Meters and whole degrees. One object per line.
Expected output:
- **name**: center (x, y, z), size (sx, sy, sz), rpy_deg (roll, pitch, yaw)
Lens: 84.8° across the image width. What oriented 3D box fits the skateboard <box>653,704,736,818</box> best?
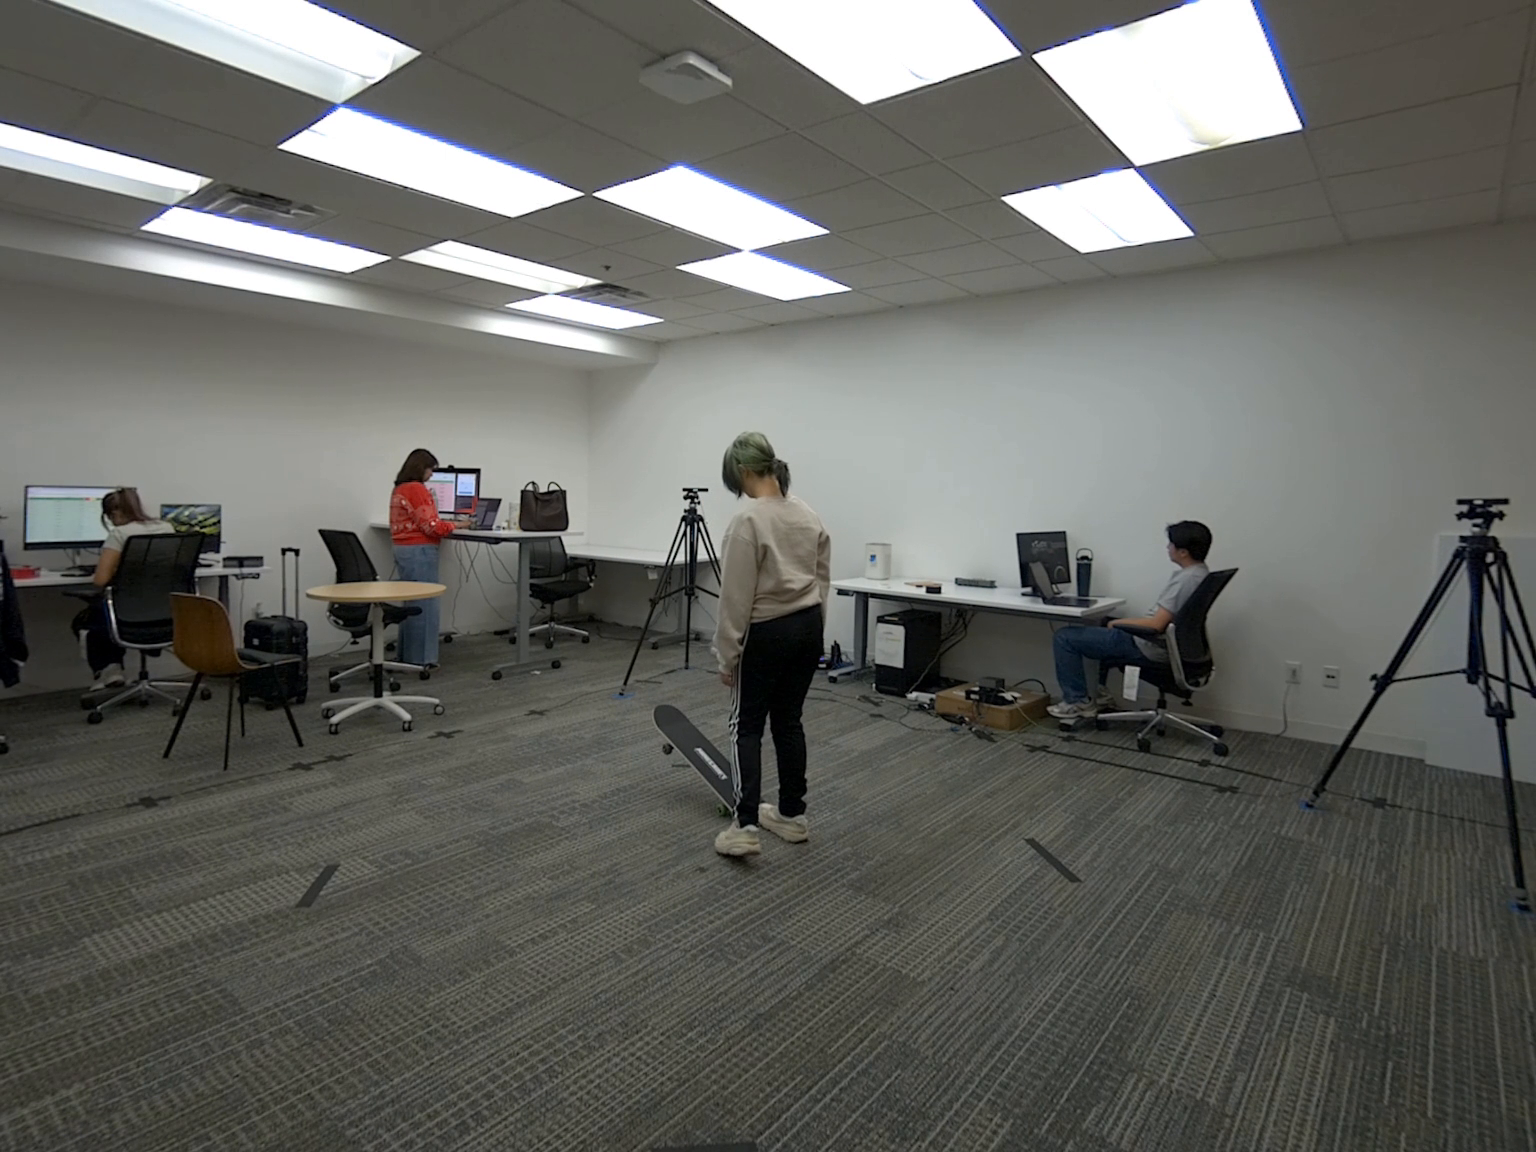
- **skateboard**: center (-0.276, 0.857, 3.795), size (0.188, 0.109, 0.818), rpy_deg (-4, 34, -45)
